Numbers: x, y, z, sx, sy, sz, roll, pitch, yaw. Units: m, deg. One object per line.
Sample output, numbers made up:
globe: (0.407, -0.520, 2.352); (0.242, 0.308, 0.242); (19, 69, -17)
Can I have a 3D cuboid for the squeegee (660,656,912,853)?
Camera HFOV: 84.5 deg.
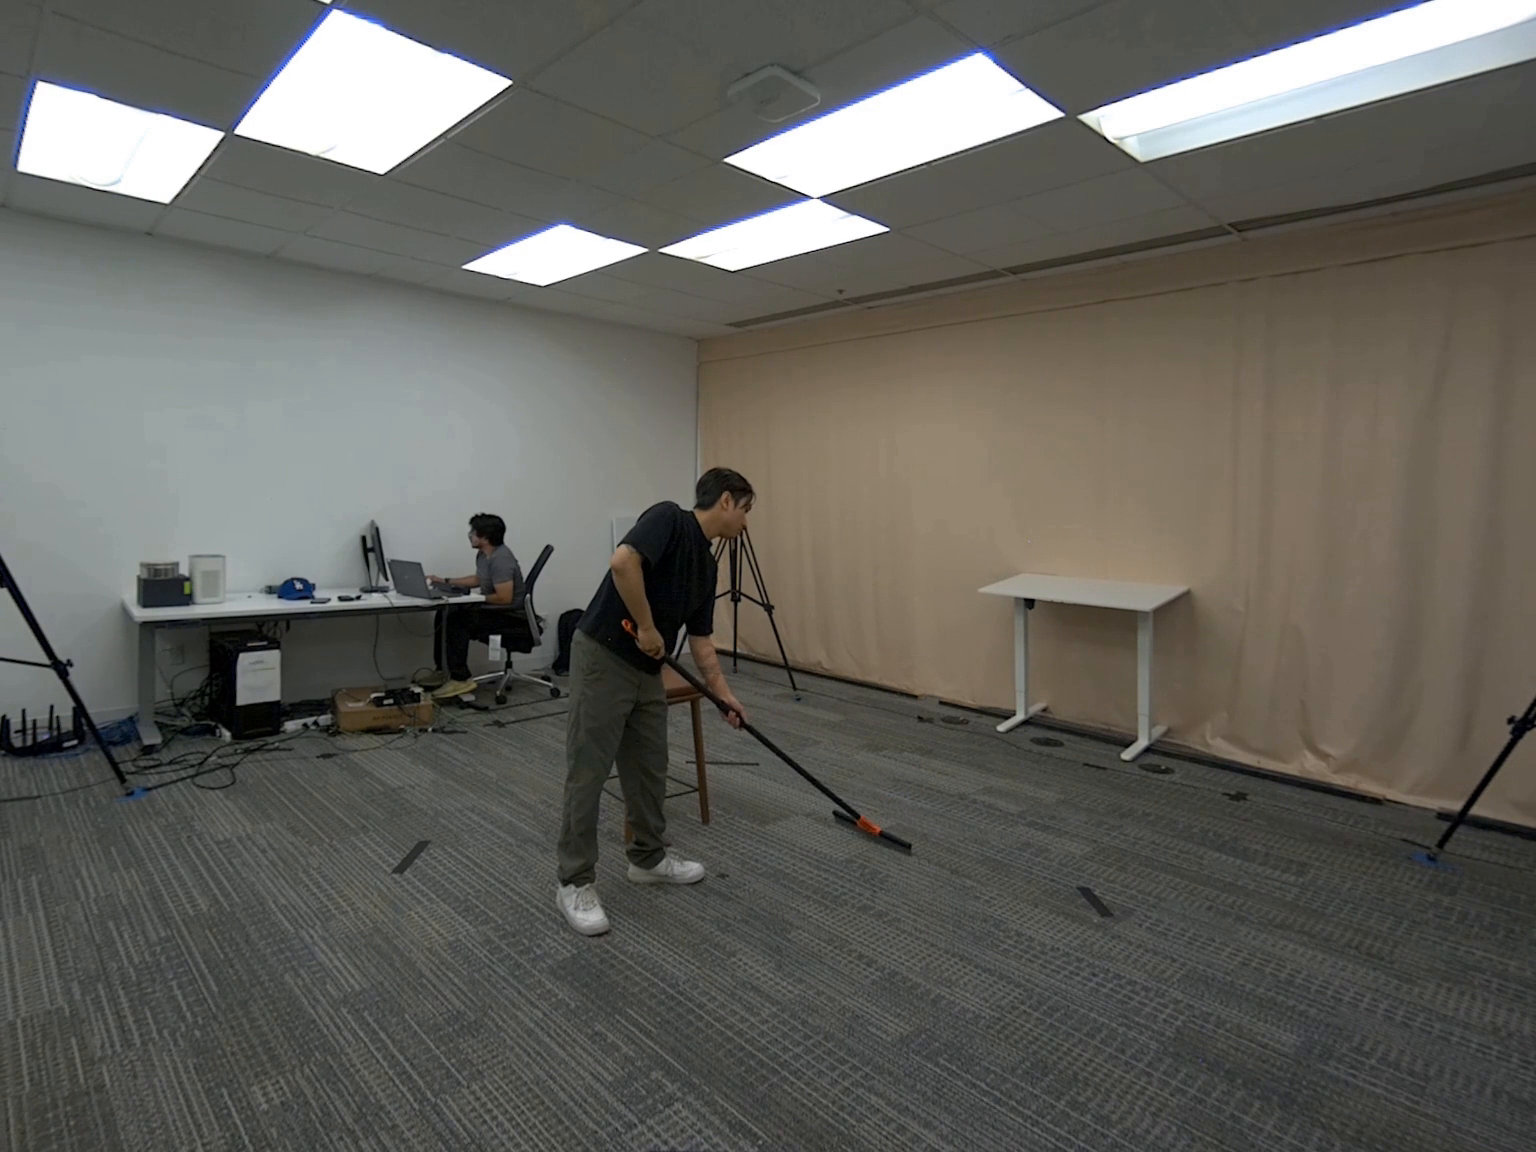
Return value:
squeegee: (-0.020, 0.593, 3.104); (0.449, 0.053, 1.493); (9, -30, 52)
